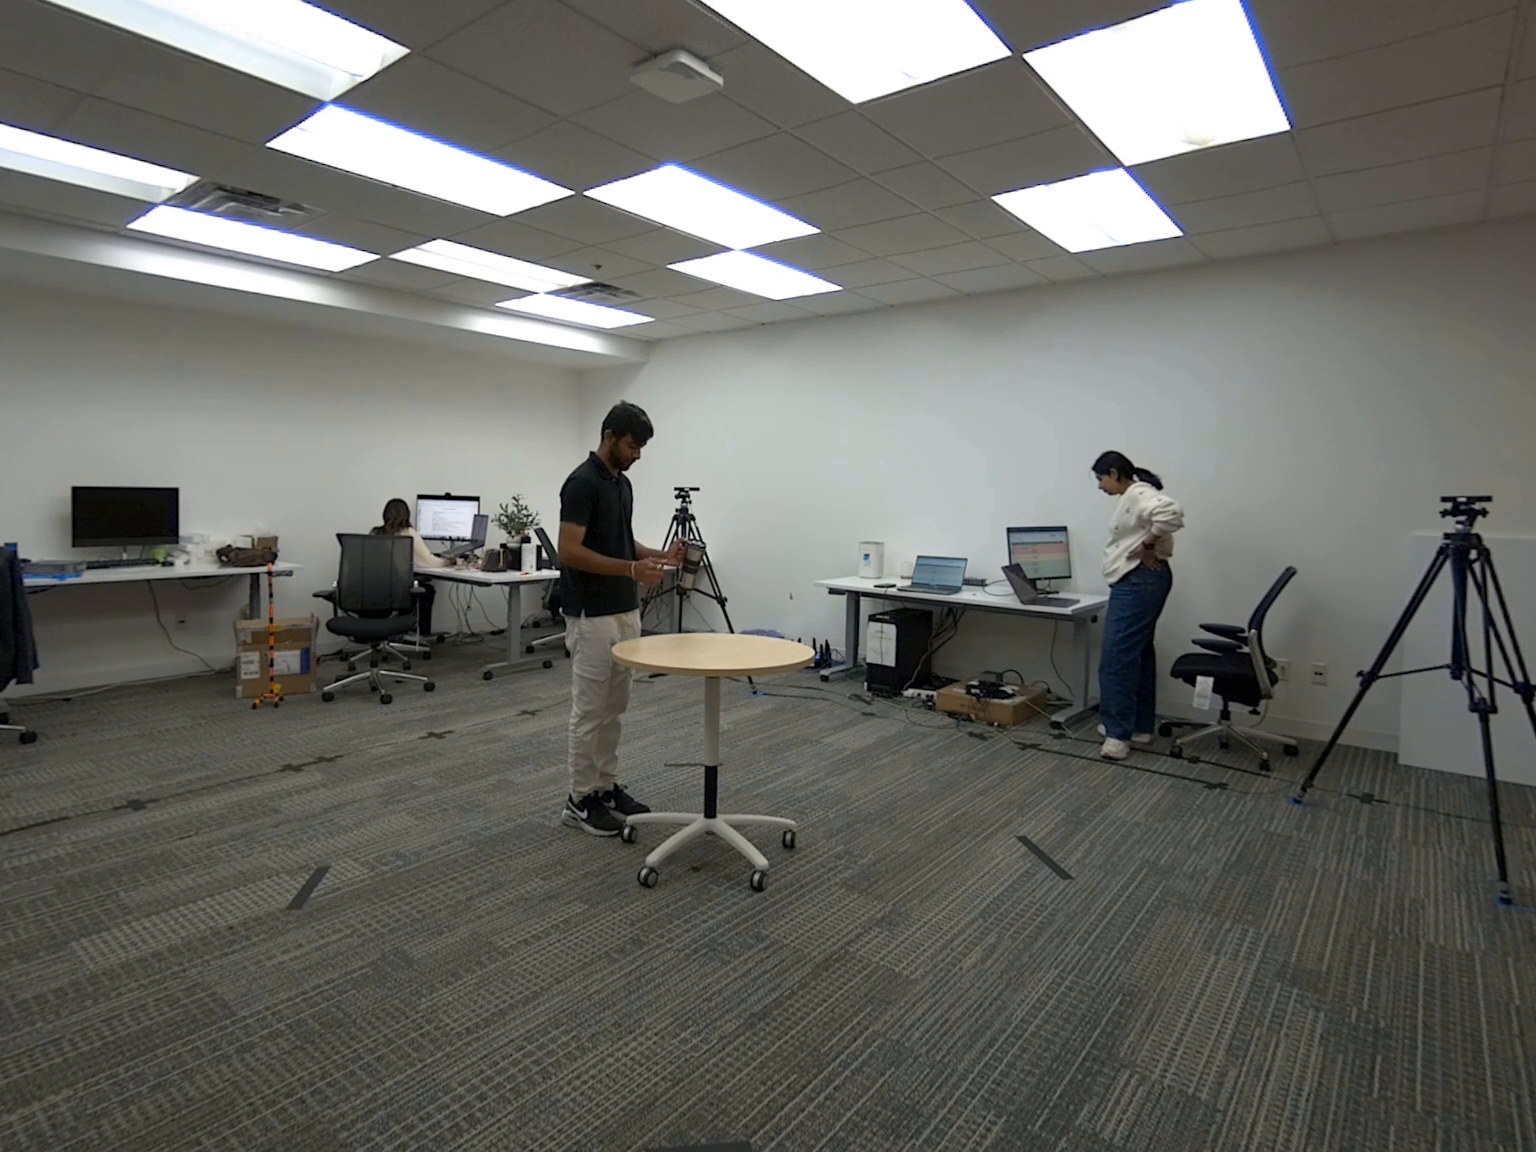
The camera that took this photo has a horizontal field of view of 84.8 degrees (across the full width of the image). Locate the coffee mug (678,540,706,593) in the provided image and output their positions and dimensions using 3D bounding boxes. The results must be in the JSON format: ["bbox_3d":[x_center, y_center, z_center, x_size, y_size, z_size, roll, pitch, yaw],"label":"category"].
[{"bbox_3d":[-0.344,-0.048,3.536,0.085,0.201,0.127,0,22,-44],"label":"coffee mug"}]
